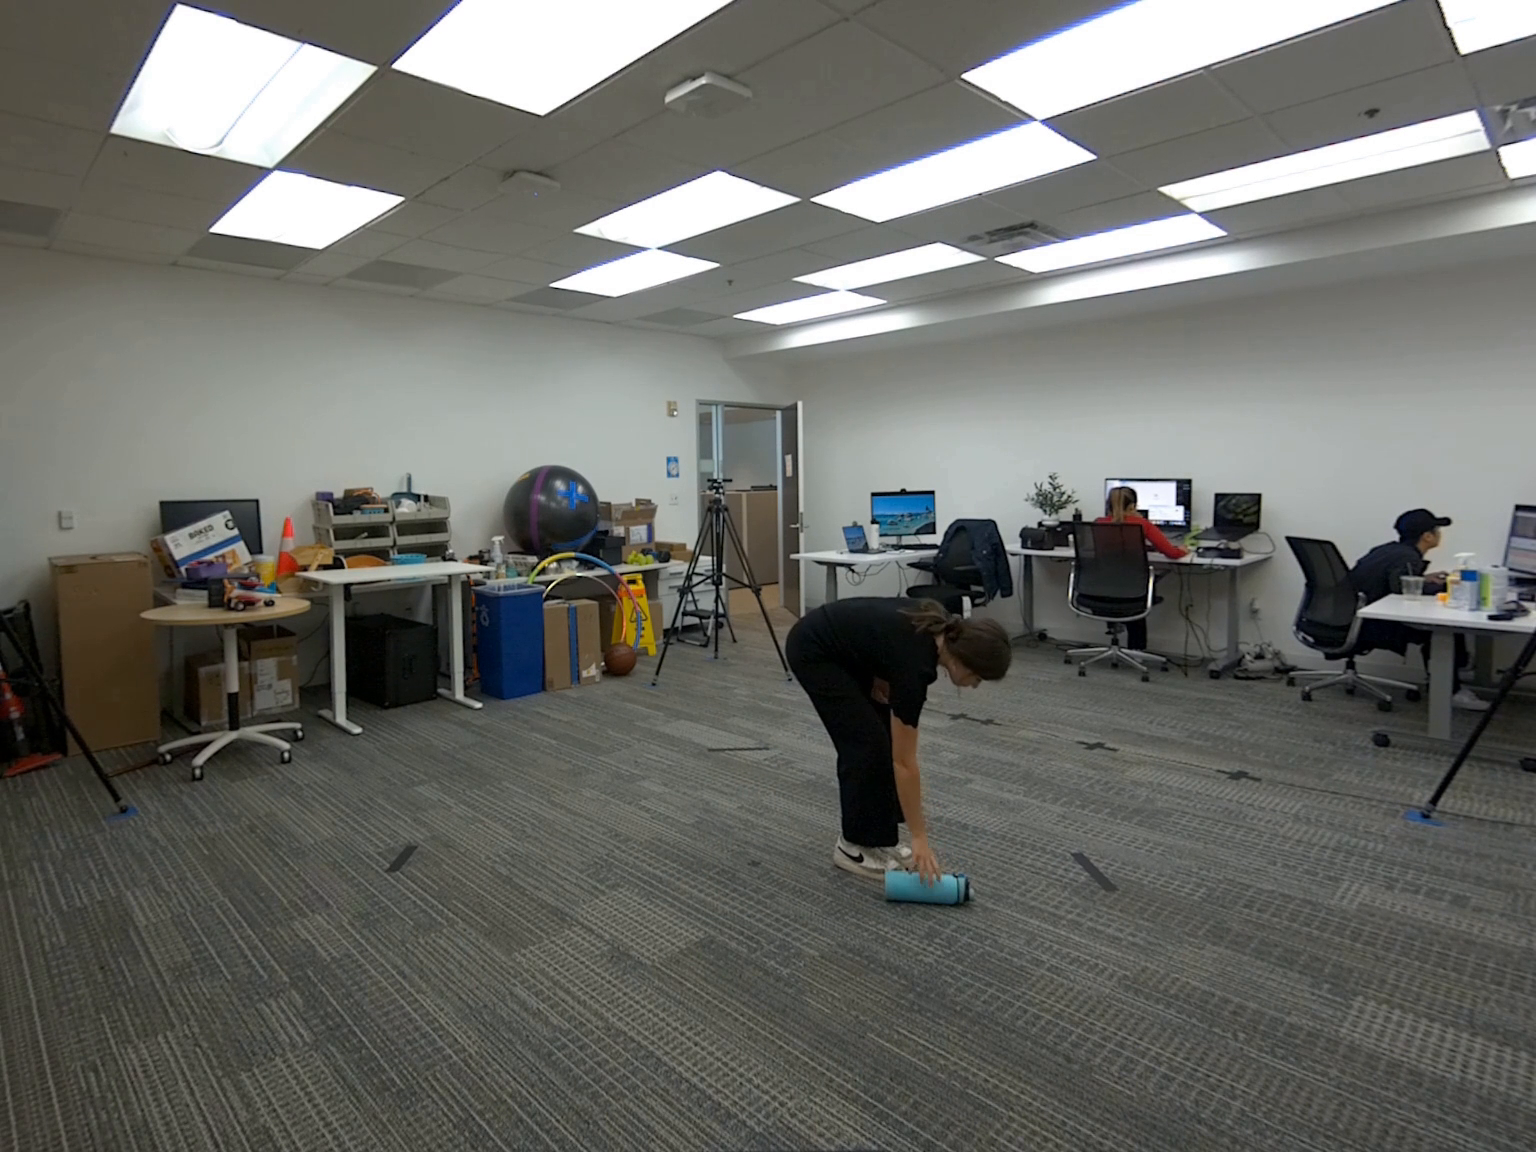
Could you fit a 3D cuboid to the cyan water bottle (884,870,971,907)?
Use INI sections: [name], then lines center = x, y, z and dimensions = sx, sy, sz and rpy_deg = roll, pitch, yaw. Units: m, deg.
[cyan water bottle]
center = 0.533, 1.022, 2.806
dimensions = 0.286, 0.092, 0.092
rpy_deg = 0, 5, 10
